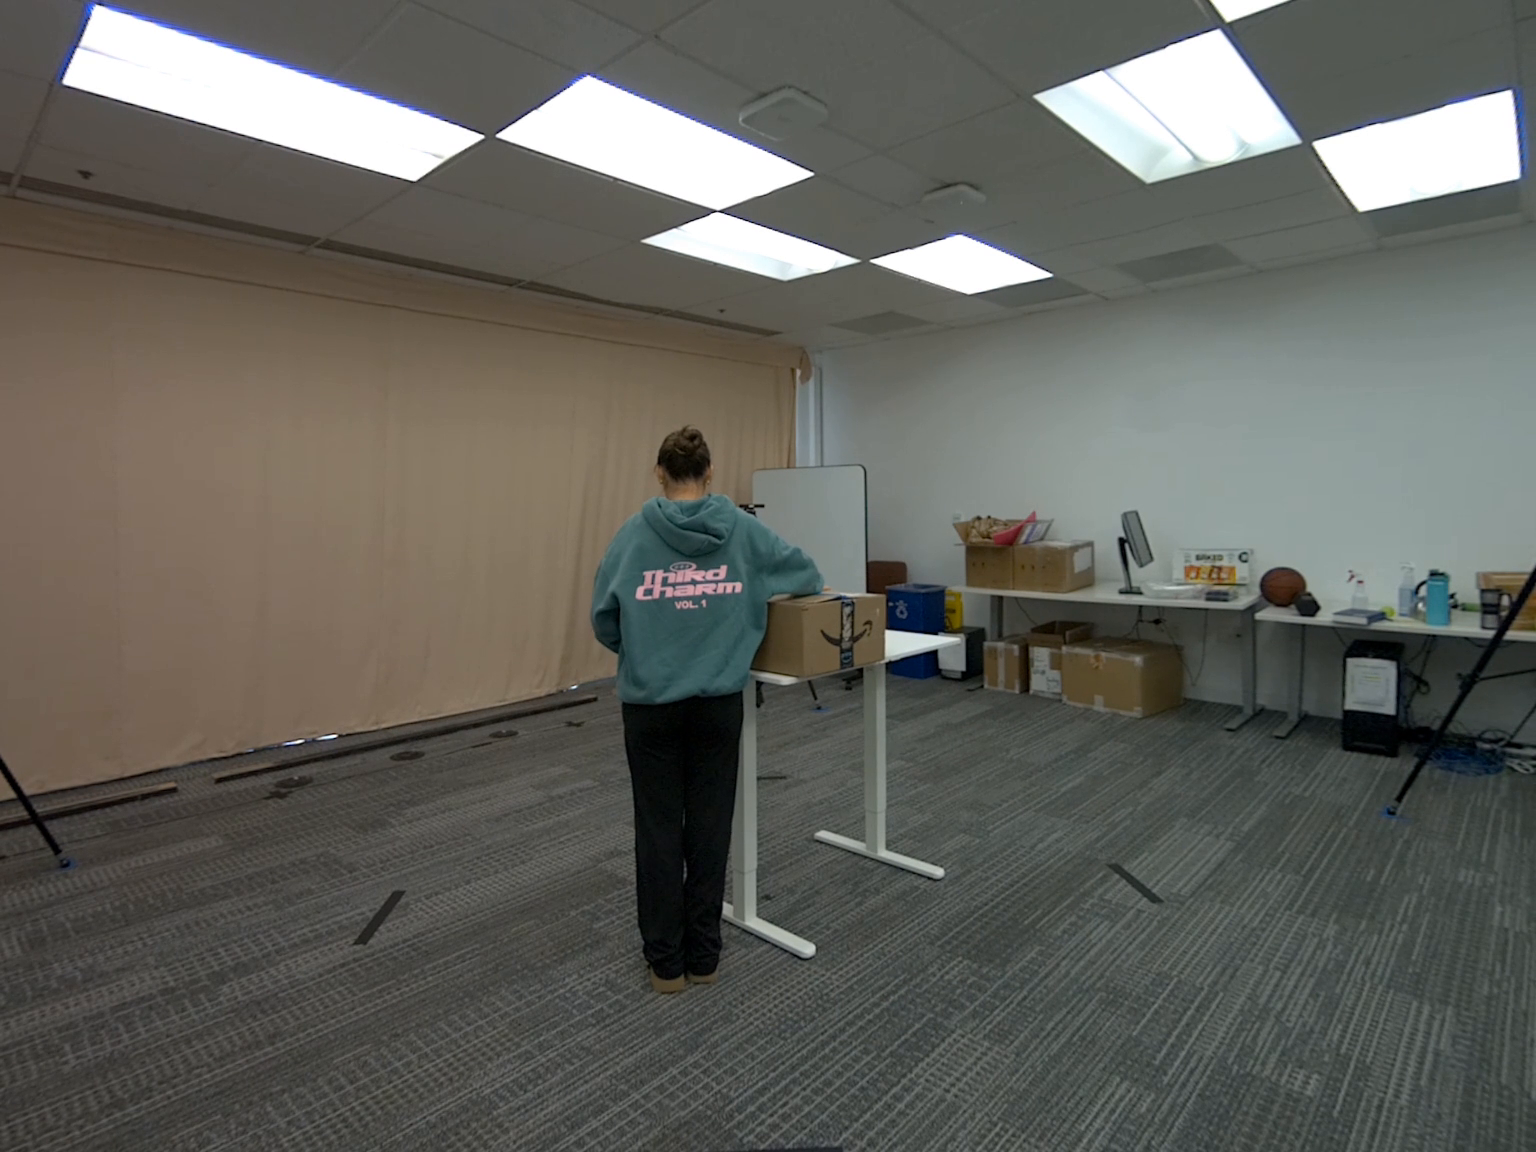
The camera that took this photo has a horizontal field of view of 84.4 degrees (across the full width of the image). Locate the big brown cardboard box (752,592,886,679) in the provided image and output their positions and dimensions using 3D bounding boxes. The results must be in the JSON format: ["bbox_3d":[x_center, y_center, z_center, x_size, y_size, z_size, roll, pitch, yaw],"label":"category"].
[{"bbox_3d":[0.034,0.168,2.777,0.608,0.233,0.405,2,5,43],"label":"big brown cardboard box"}]
